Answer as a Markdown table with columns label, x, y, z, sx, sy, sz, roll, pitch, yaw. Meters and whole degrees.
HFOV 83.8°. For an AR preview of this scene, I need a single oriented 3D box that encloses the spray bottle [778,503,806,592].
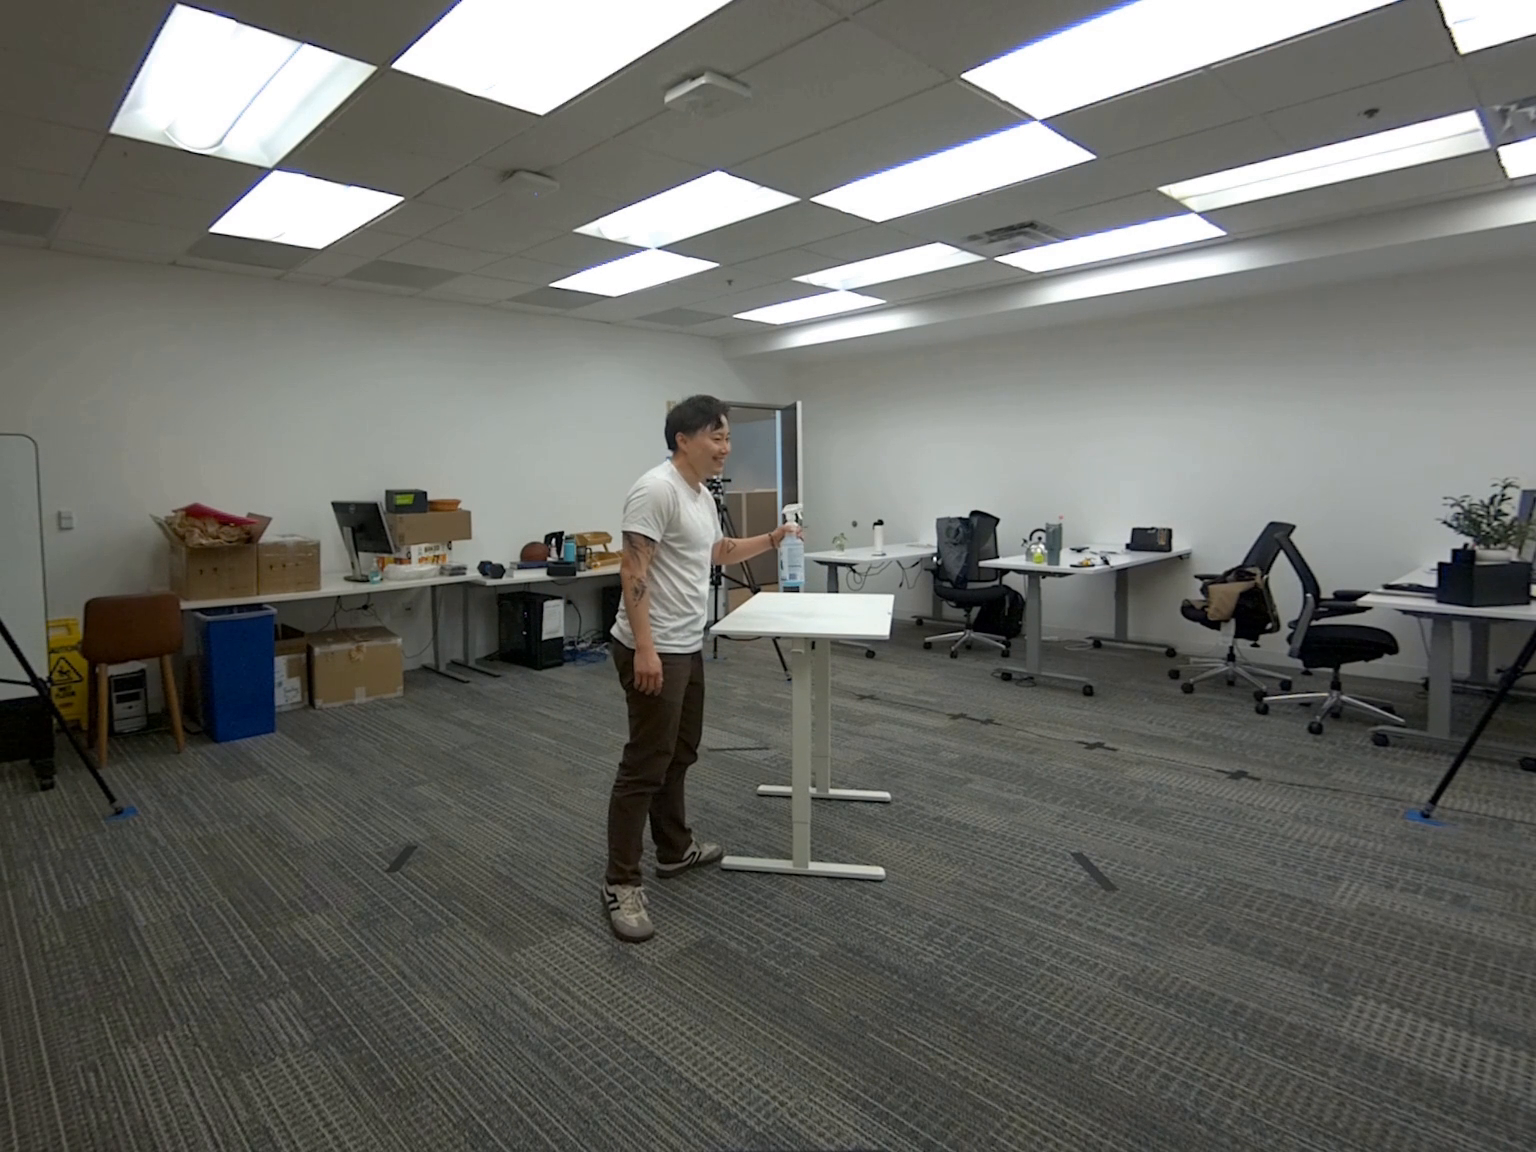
| label | x | y | z | sx | sy | sz | roll | pitch | yaw |
| --- | --- | --- | --- | --- | --- | --- | --- | --- | --- |
| spray bottle | 0.085 | -0.109 | 3.124 | 0.085 | 0.297 | 0.092 | -1 | 3 | -25 |
